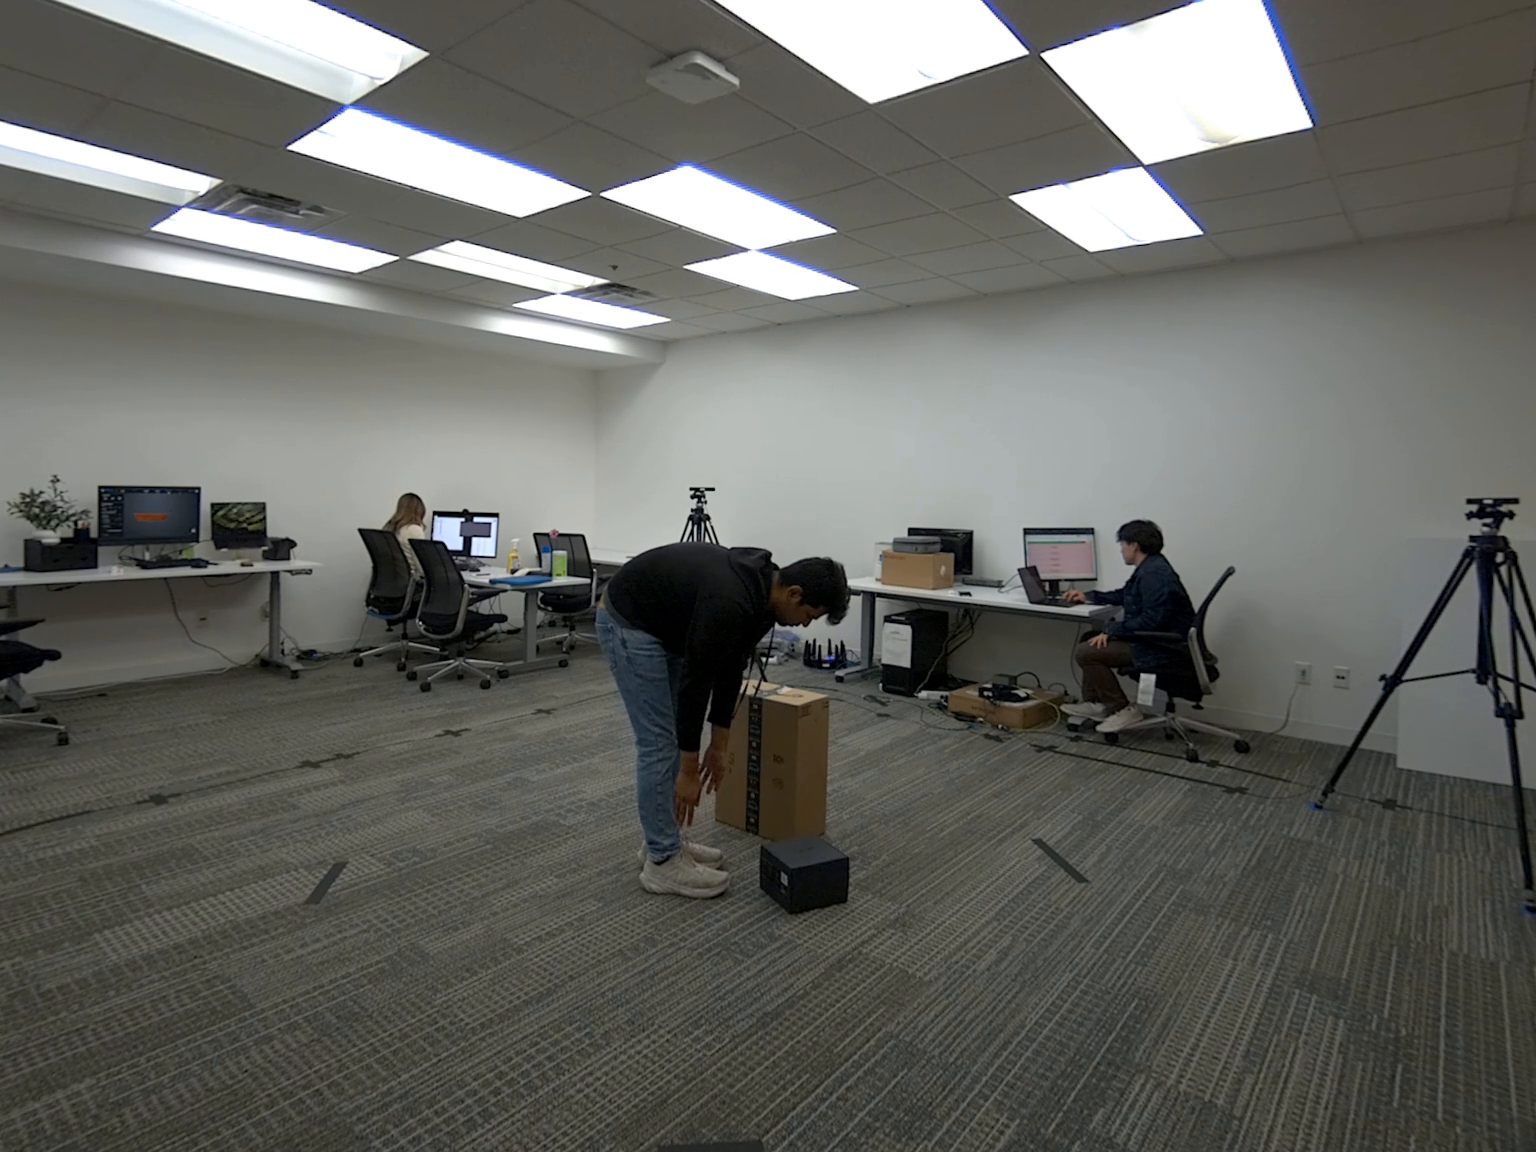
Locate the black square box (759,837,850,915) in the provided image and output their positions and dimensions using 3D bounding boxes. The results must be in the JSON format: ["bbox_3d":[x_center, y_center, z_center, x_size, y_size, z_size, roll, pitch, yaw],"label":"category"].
[{"bbox_3d":[0.115,1.007,2.907,0.222,0.155,0.223,0,5,-29],"label":"black square box"}]
